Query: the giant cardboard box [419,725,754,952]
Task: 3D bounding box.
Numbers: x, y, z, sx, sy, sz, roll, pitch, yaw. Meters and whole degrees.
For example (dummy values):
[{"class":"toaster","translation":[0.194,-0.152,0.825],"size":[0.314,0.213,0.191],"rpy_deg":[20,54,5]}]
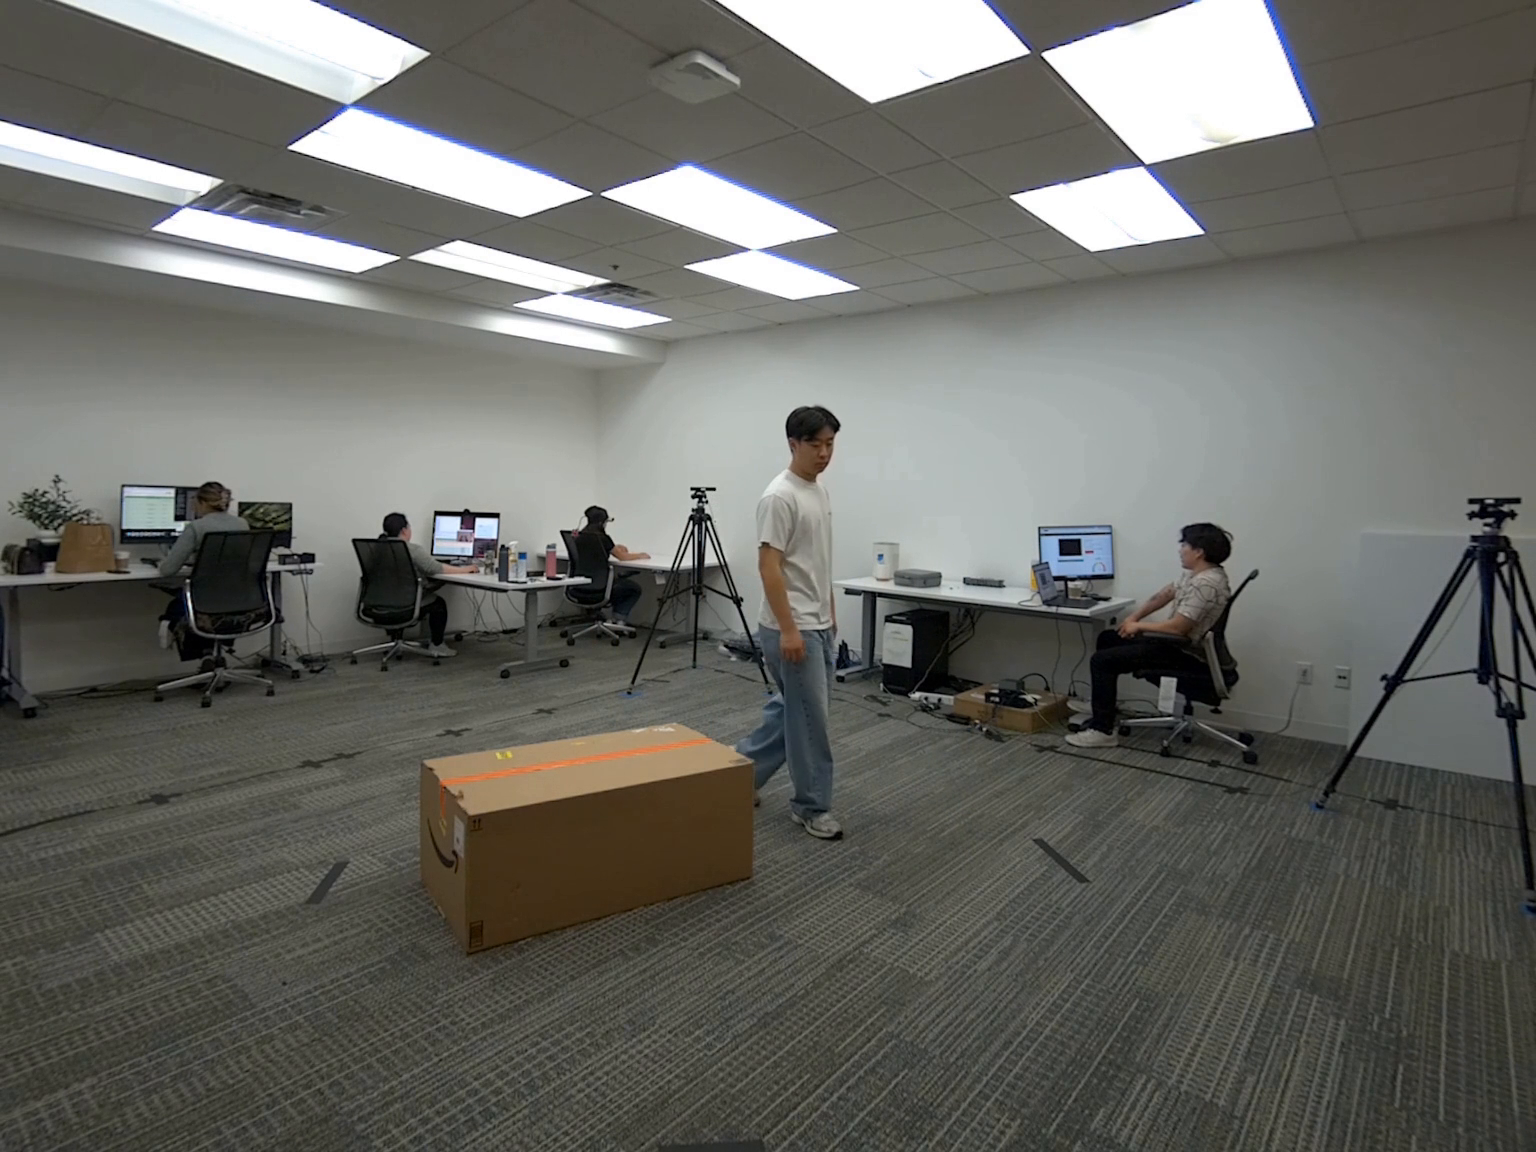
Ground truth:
[{"class":"giant cardboard box","translation":[-0.641,0.855,2.994],"size":[0.997,0.425,0.596],"rpy_deg":[-3,5,-33]}]
